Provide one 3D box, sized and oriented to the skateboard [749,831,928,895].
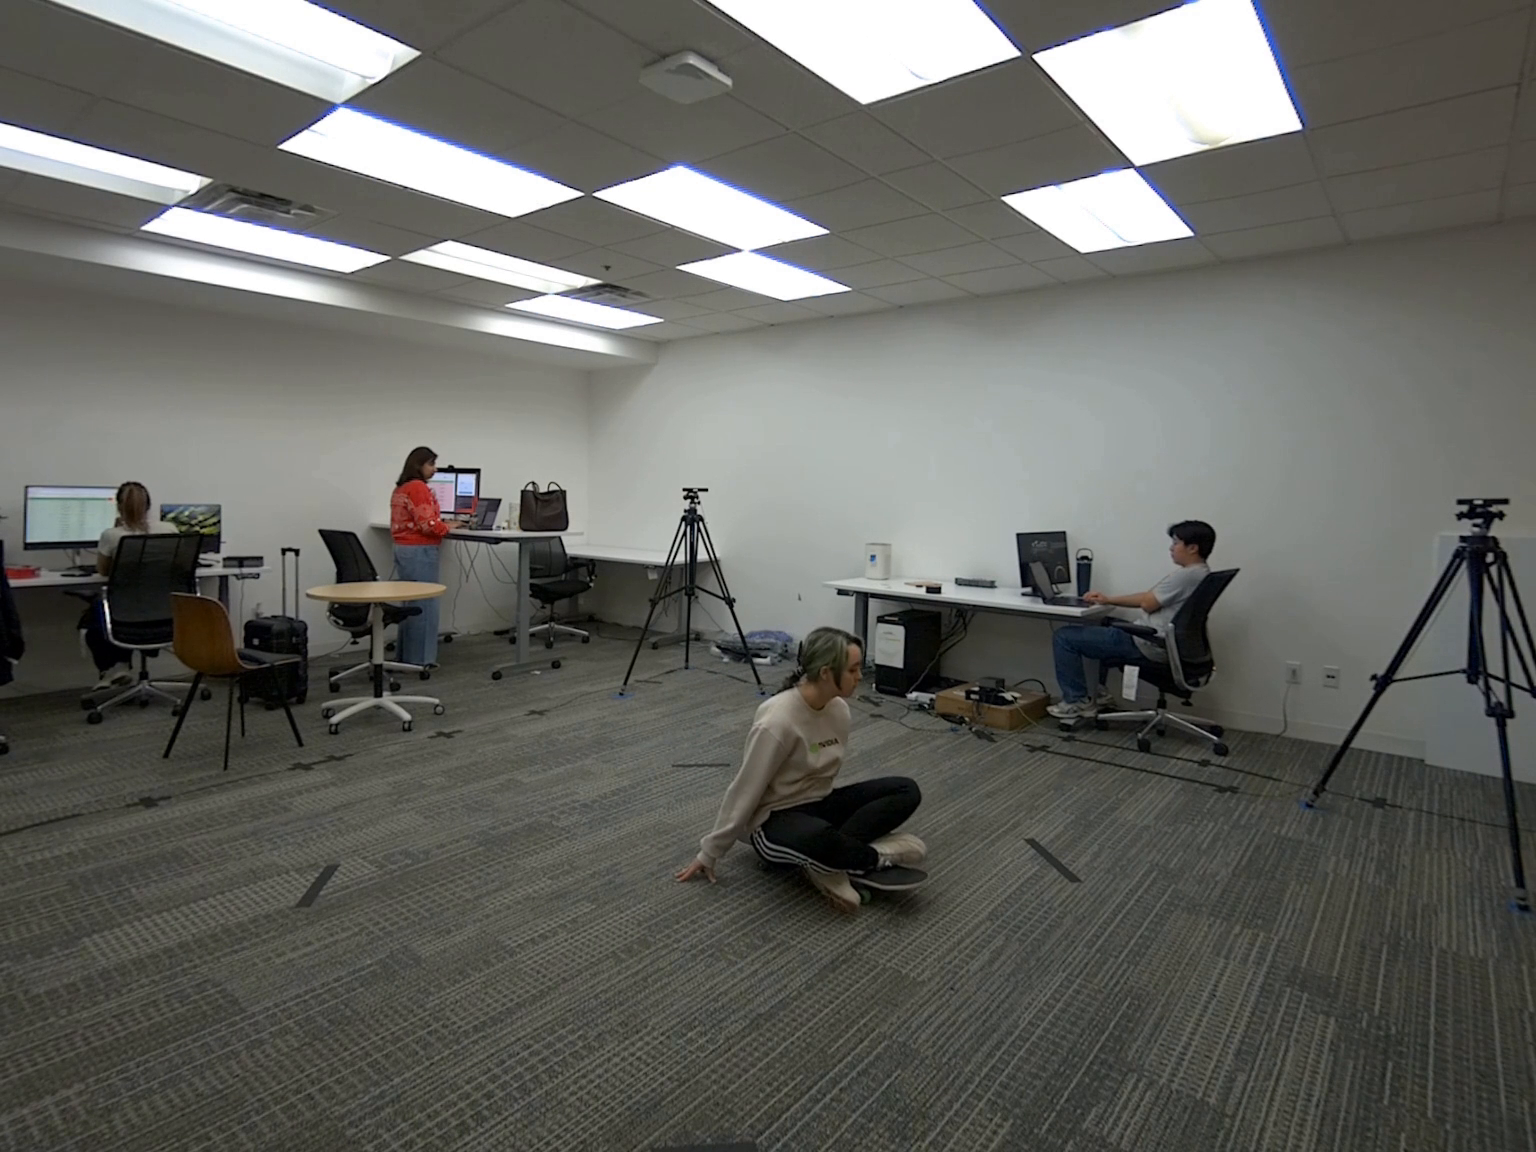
[{"bbox_3d":[0.200,1.030,3.050,0.809,0.110,0.188,2,3,33],"label":"skateboard"}]
